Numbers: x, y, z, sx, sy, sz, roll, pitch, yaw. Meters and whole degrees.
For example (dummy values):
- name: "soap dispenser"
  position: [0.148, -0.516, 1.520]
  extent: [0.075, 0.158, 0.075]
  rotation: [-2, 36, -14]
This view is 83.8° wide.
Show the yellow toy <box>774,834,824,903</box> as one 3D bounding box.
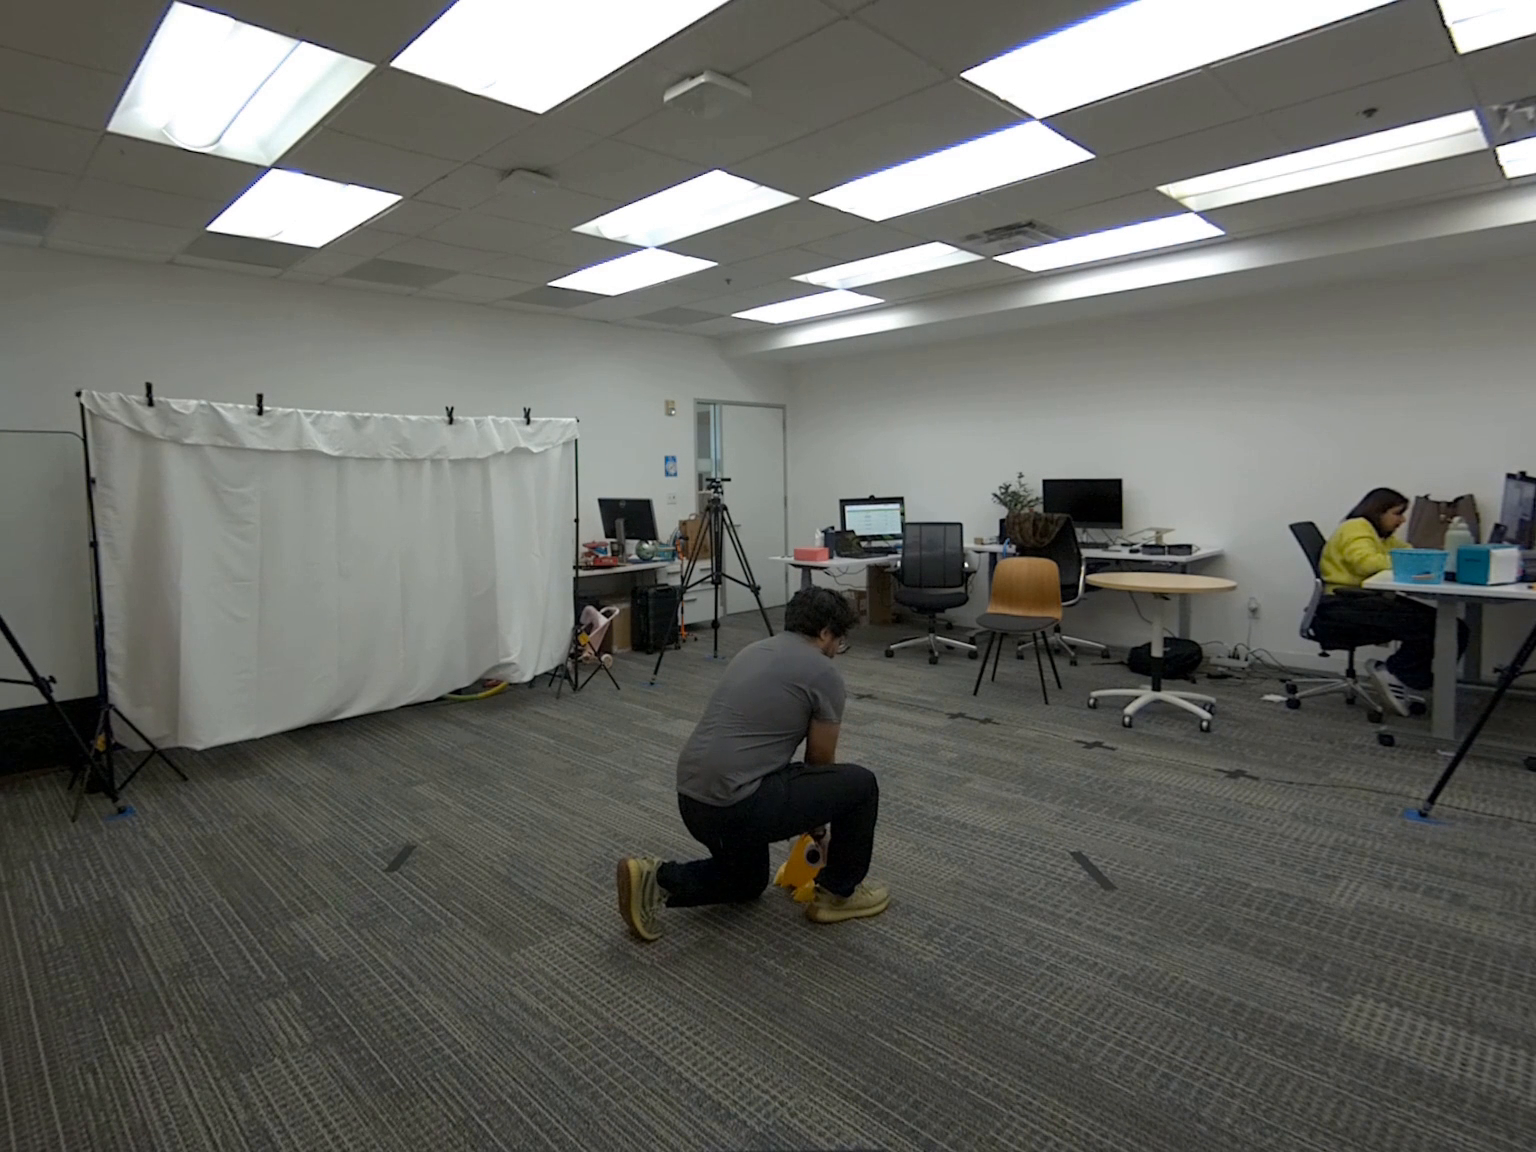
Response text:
- name: "yellow toy"
  position: [0.134, 0.948, 2.918]
  extent: [0.188, 0.229, 0.210]
  rotation: [-4, 7, -30]
